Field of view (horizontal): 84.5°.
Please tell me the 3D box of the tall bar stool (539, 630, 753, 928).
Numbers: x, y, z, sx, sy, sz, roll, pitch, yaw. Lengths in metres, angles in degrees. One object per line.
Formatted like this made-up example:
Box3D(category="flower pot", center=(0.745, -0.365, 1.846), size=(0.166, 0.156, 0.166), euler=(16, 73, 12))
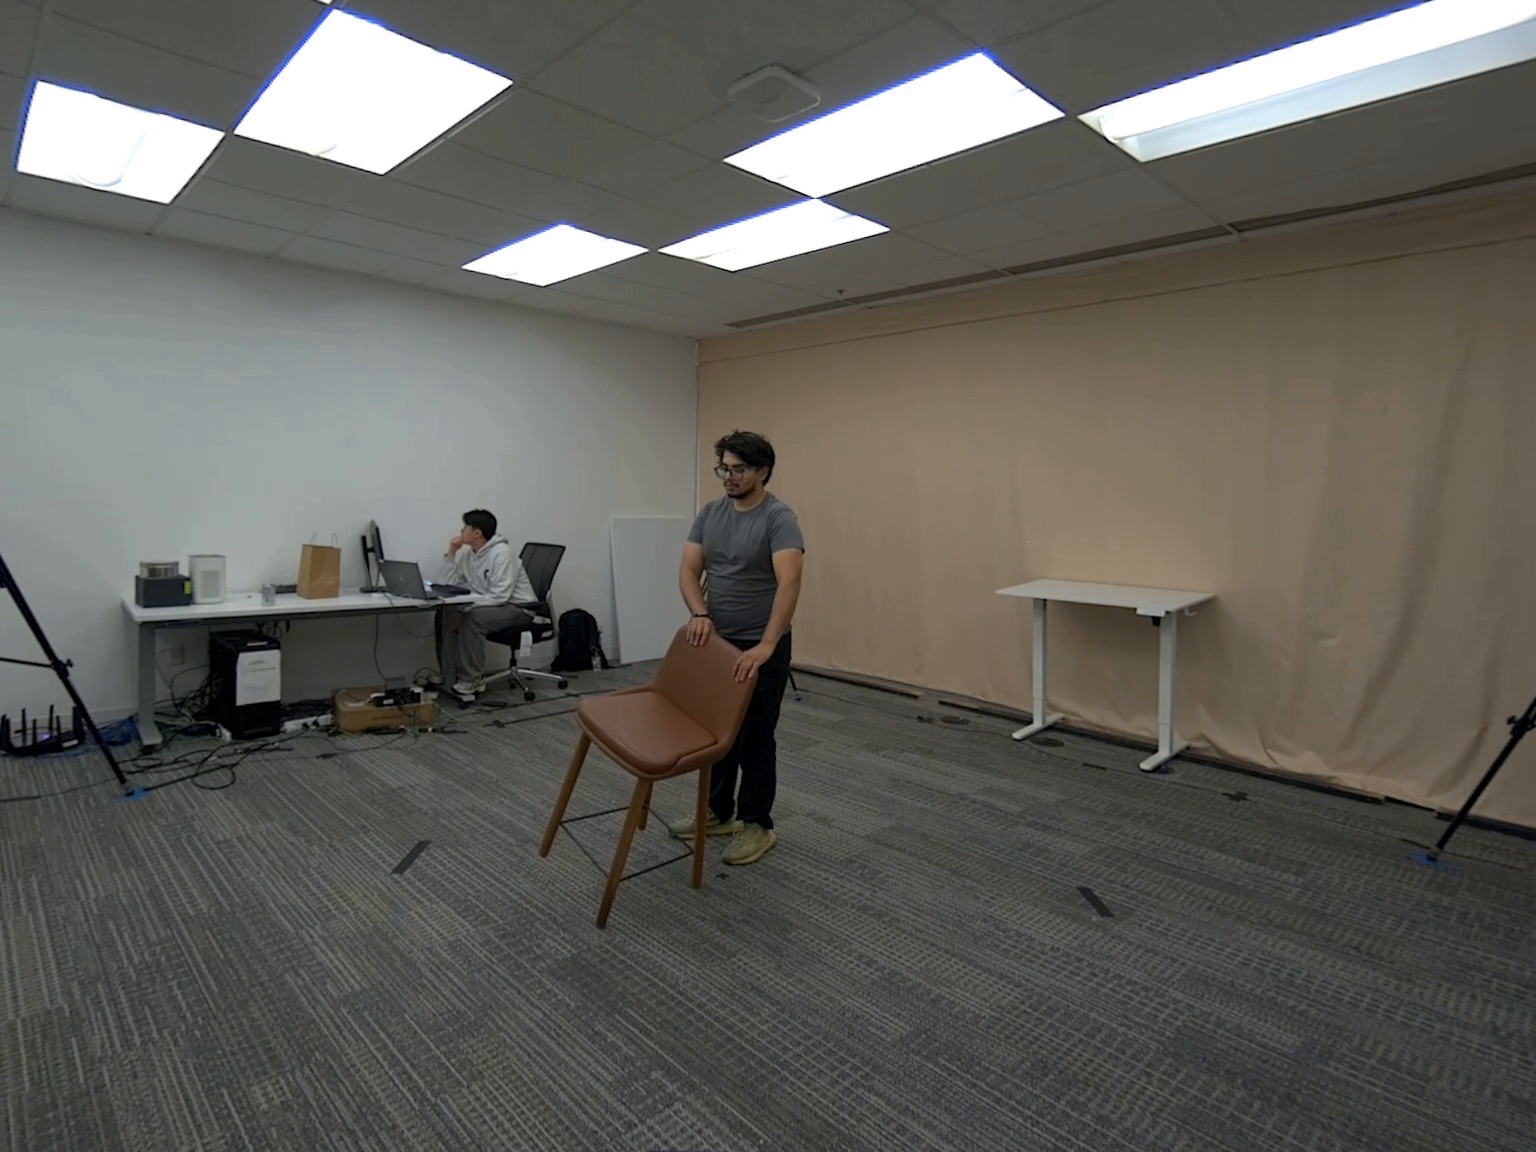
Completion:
Box3D(category="tall bar stool", center=(-0.414, 0.652, 2.881), size=(0.456, 0.884, 0.471), euler=(2, 18, -45))
